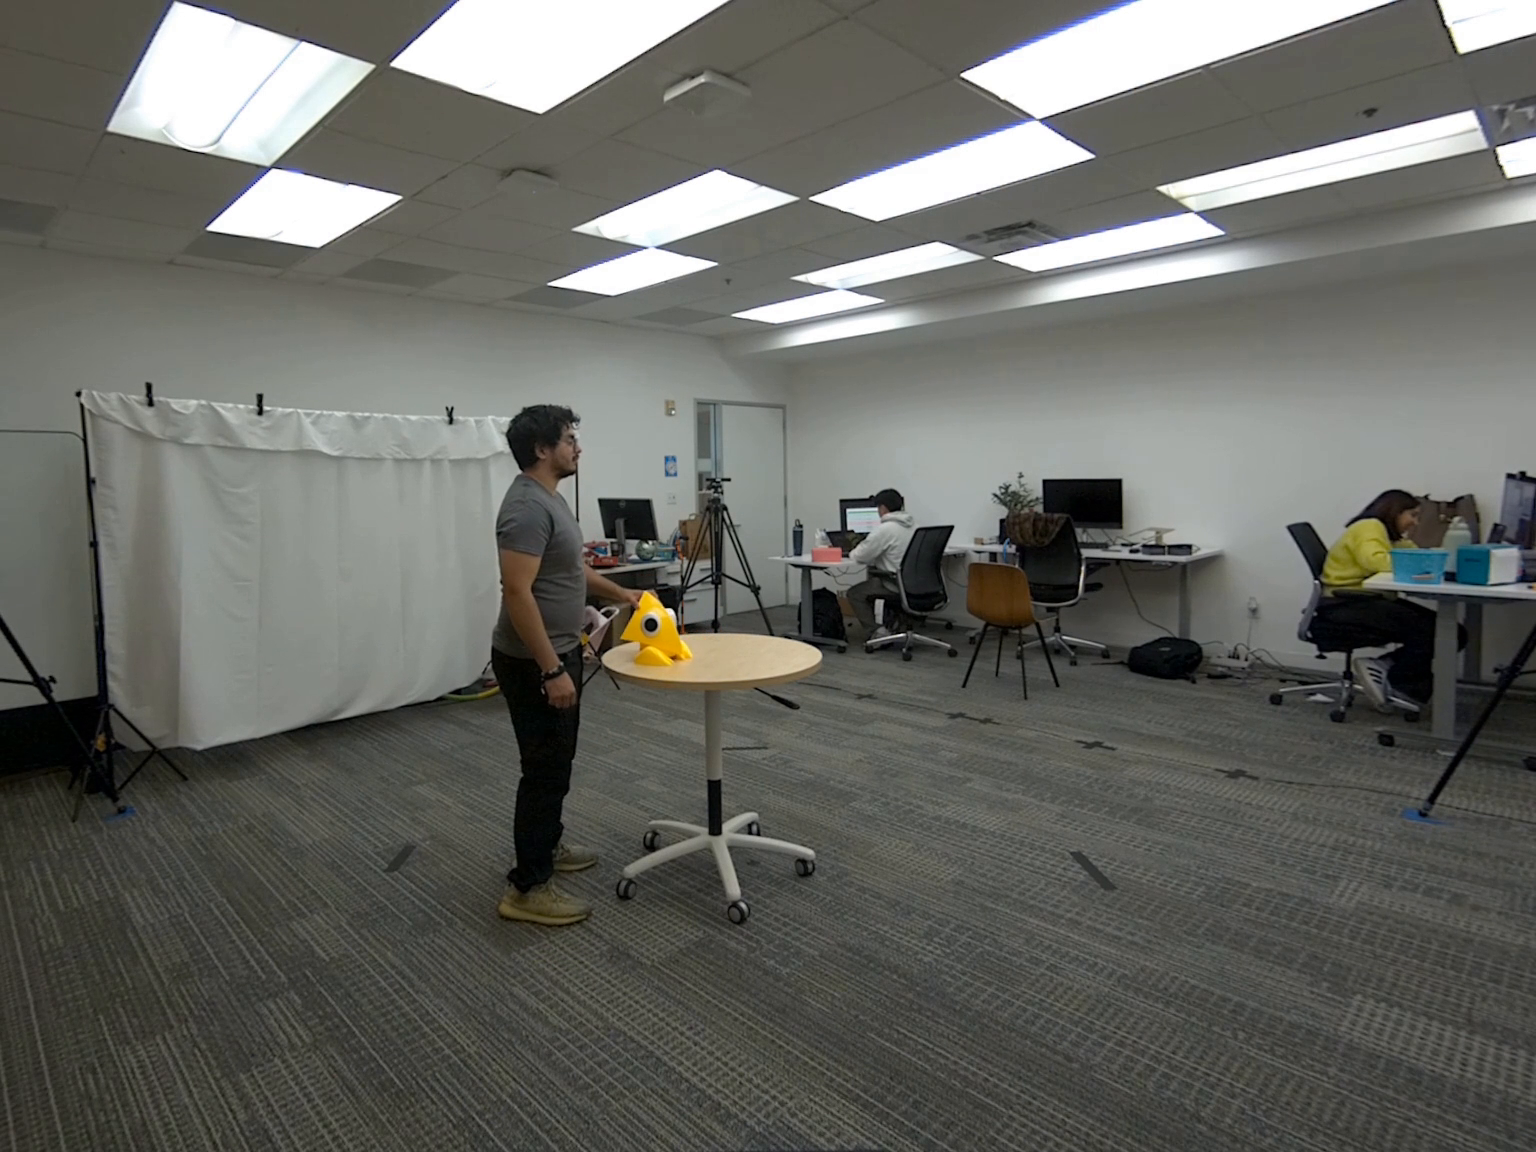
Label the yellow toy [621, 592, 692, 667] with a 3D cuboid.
[{"bbox_3d":[-0.371,0.171,2.924,0.198,0.229,0.200,2,7,30],"label":"yellow toy"}]
